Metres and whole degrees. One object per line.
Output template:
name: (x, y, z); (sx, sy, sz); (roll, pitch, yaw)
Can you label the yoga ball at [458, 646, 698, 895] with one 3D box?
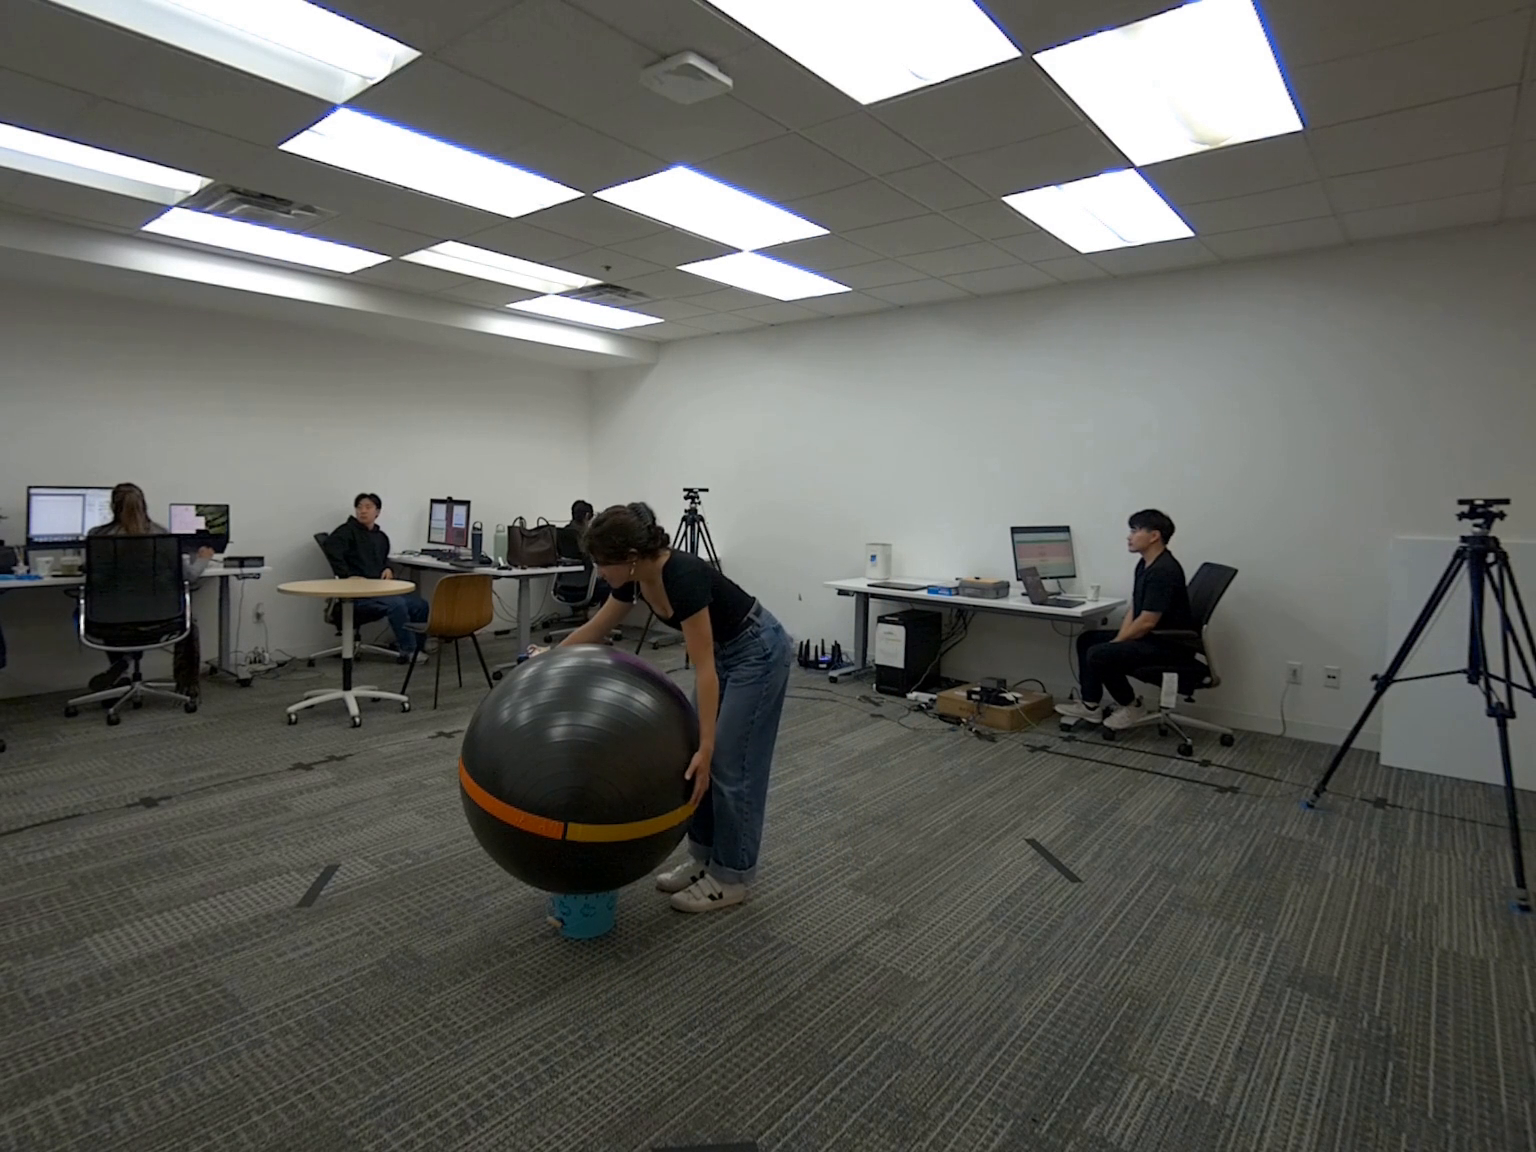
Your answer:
yoga ball: (-0.588, 0.597, 2.670); (0.757, 0.755, 0.762); (1, 4, -2)
